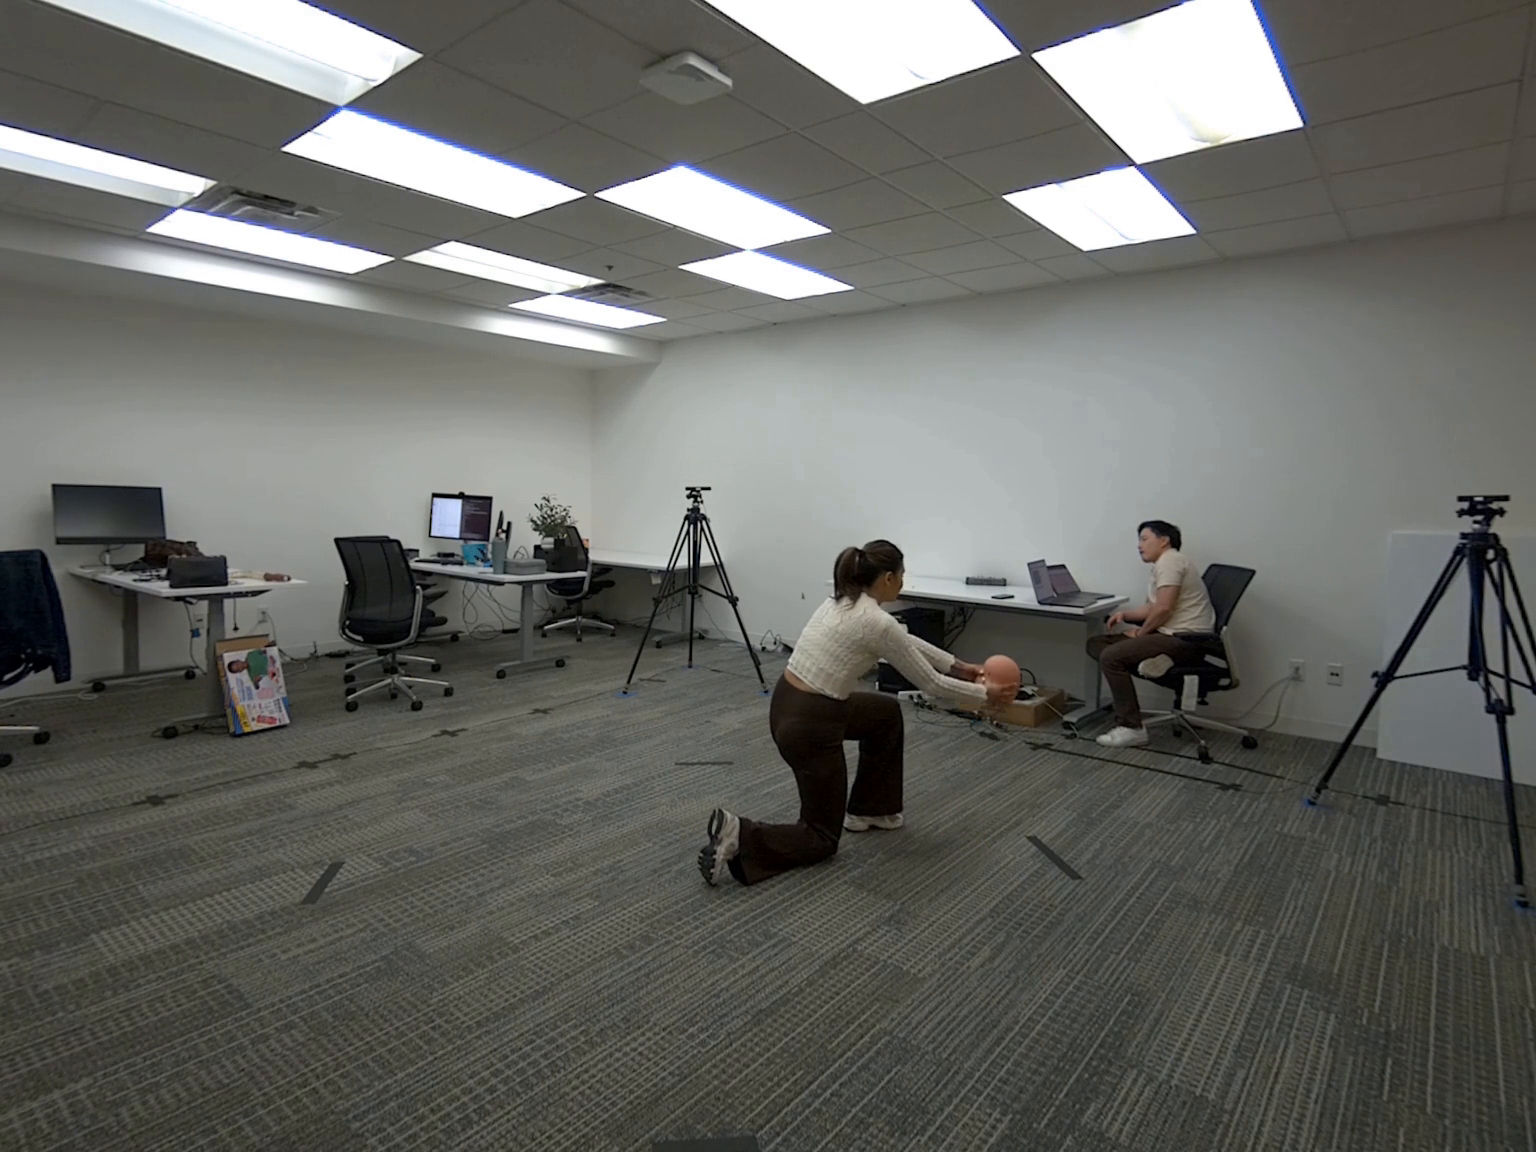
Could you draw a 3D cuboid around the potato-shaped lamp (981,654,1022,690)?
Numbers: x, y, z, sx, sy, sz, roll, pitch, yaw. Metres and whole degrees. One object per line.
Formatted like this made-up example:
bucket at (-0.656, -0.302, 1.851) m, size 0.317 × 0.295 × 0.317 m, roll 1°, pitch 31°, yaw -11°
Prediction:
potato-shaped lamp at (0.920, 0.418, 3.434) m, size 0.169 × 0.195 × 0.170 m, roll -5°, pitch 20°, yaw -14°
